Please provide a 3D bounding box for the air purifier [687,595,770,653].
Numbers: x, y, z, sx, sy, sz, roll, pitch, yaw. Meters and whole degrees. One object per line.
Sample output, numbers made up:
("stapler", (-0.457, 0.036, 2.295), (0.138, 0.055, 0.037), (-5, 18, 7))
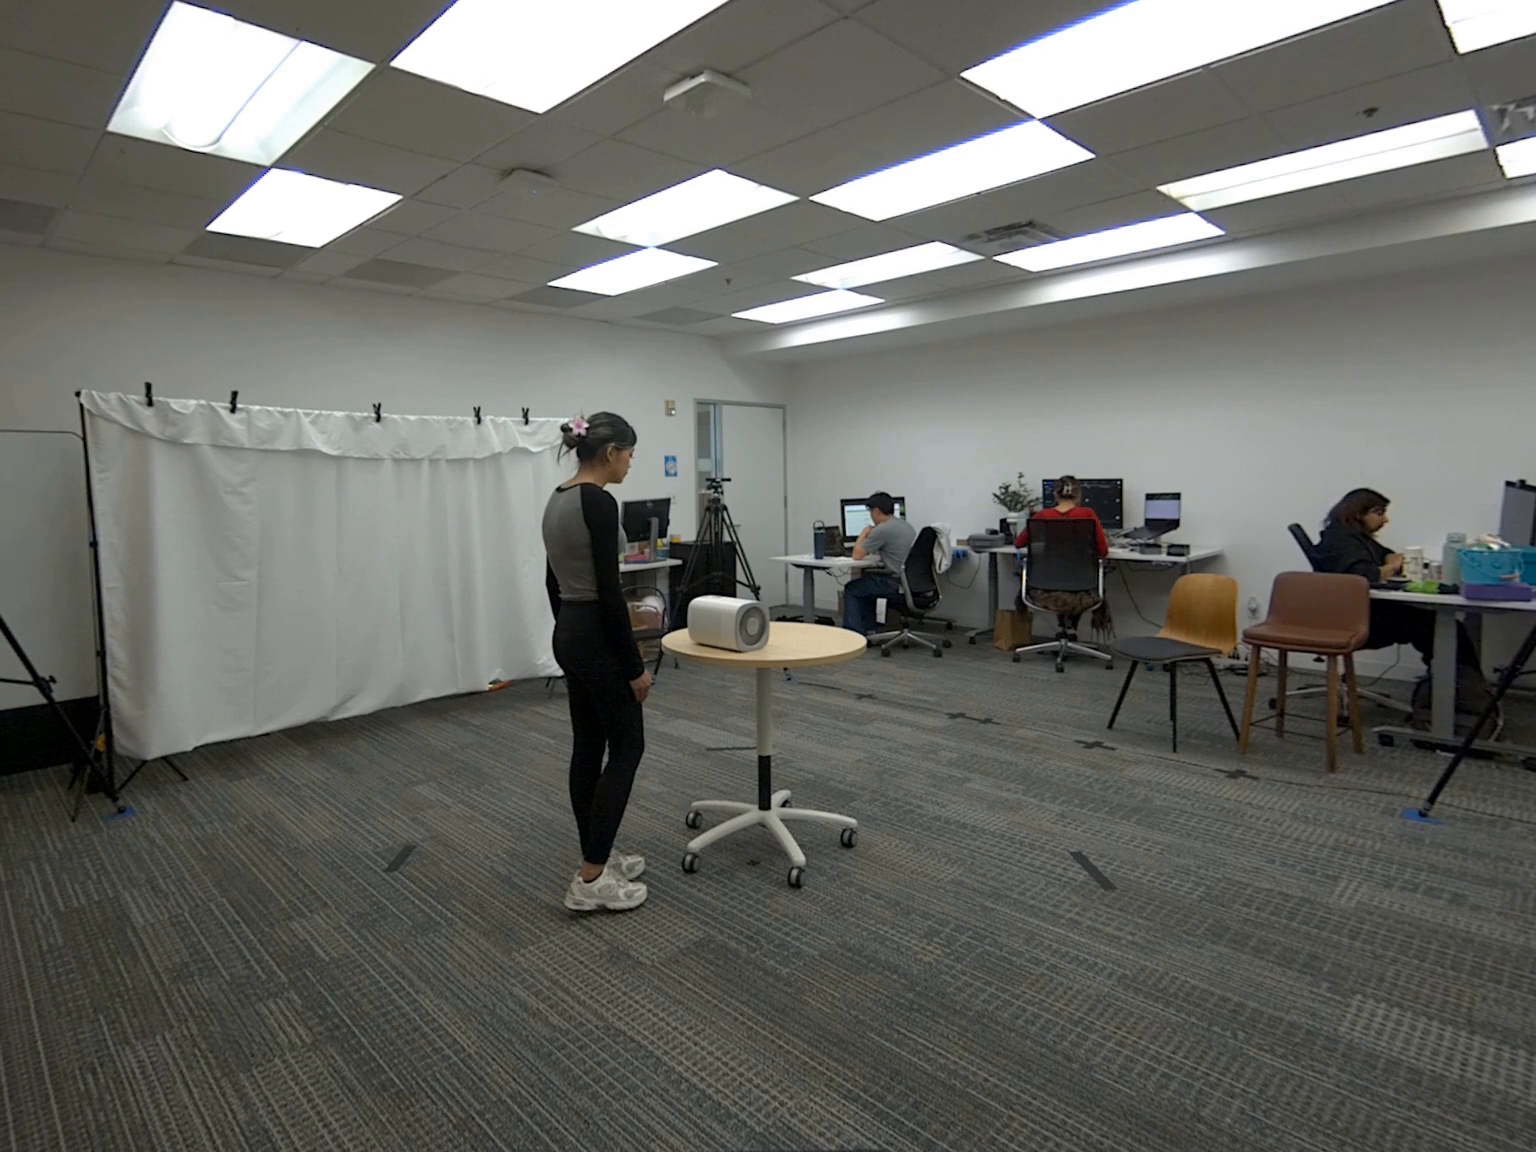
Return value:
("air purifier", (-0.147, 0.164, 3.071), (0.273, 0.171, 0.166), (5, 7, 44))
